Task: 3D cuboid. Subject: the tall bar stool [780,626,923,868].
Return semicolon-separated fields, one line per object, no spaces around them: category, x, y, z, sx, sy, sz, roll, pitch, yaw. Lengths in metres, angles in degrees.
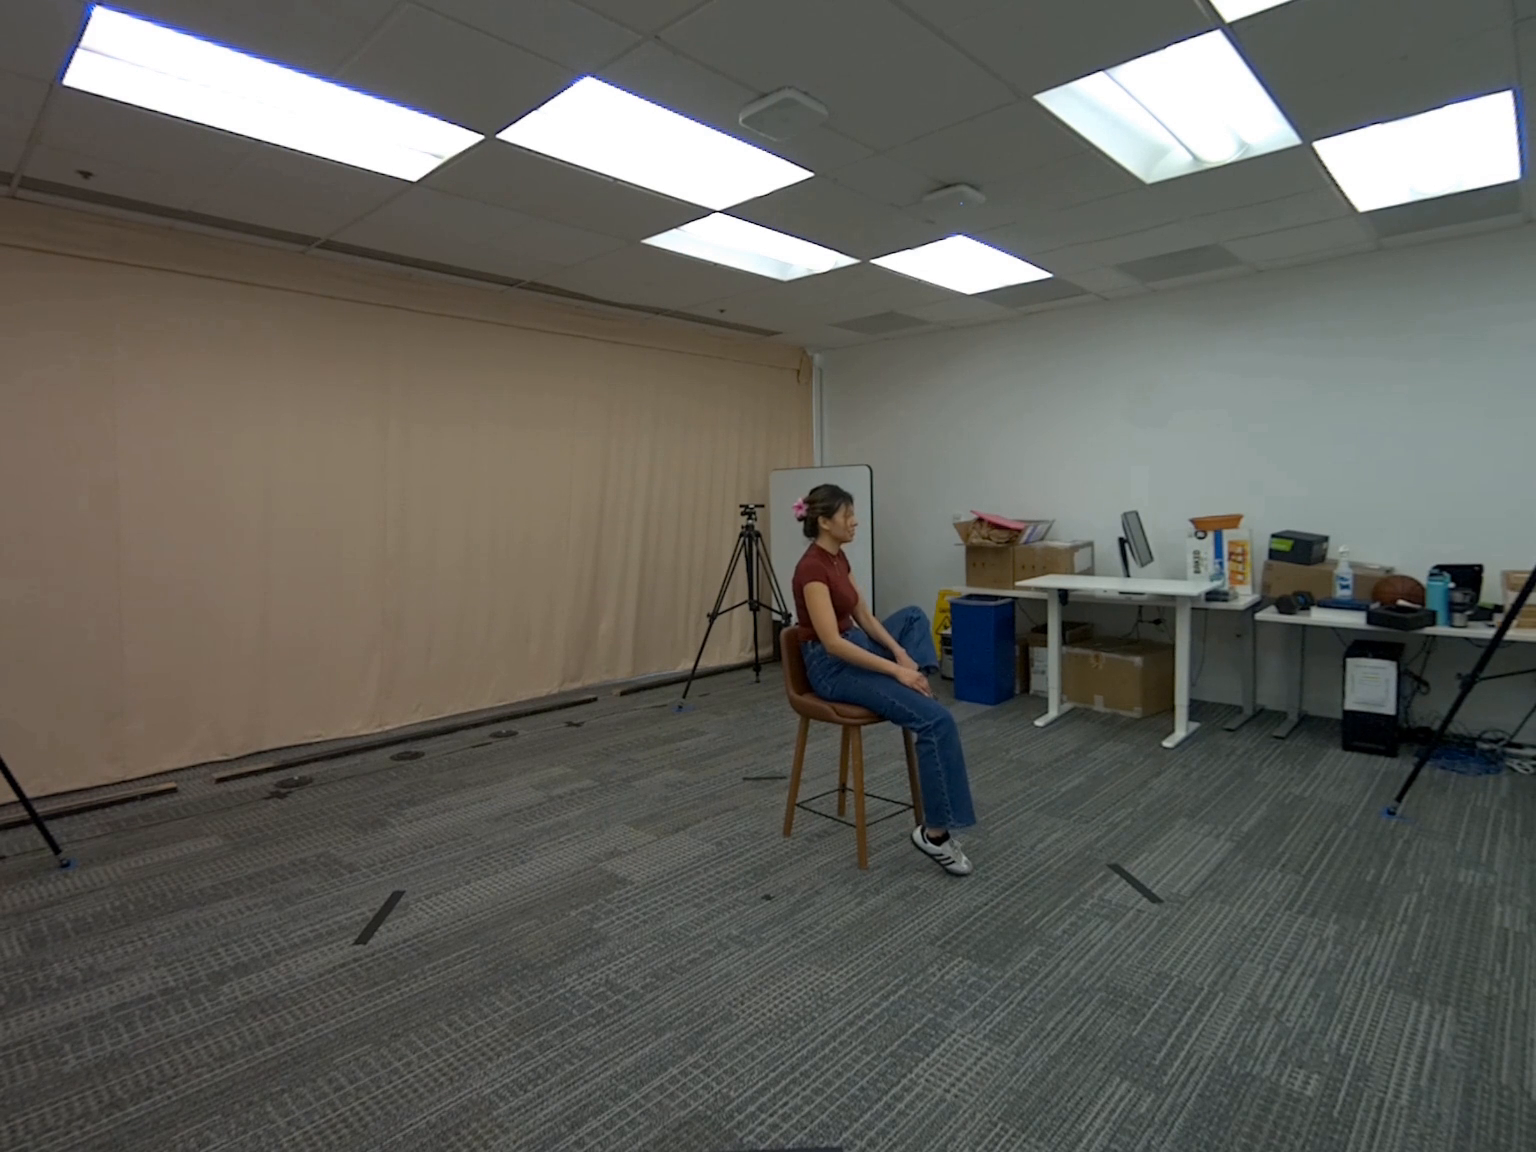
tall bar stool;0.340;0.658;3.483;0.442;0.889;0.483;-3;2;-43
